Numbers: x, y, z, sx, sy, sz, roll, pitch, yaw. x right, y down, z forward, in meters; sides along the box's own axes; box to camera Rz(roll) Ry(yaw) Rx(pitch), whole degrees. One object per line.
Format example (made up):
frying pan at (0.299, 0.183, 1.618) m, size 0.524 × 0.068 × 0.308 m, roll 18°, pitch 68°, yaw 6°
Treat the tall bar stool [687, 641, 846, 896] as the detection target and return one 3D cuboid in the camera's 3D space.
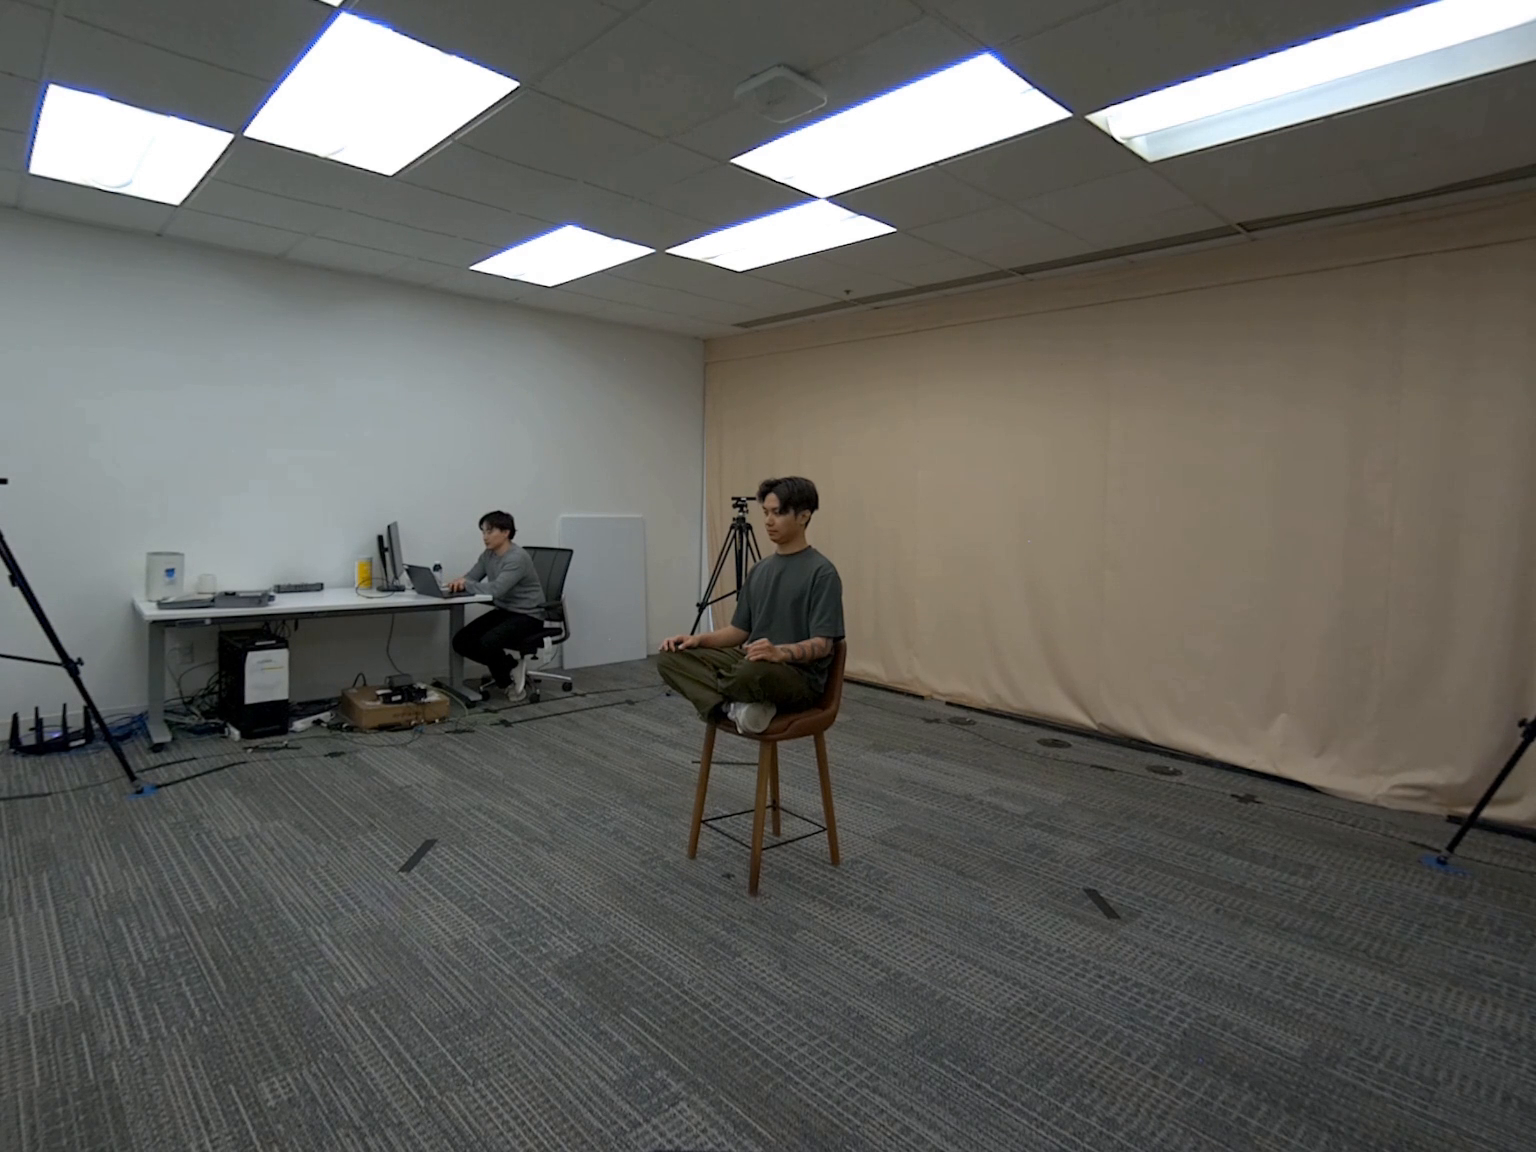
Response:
tall bar stool at (0.002, 0.665, 3.221) m, size 0.456 × 0.889 × 0.468 m, roll 2°, pitch 2°, yaw -39°
